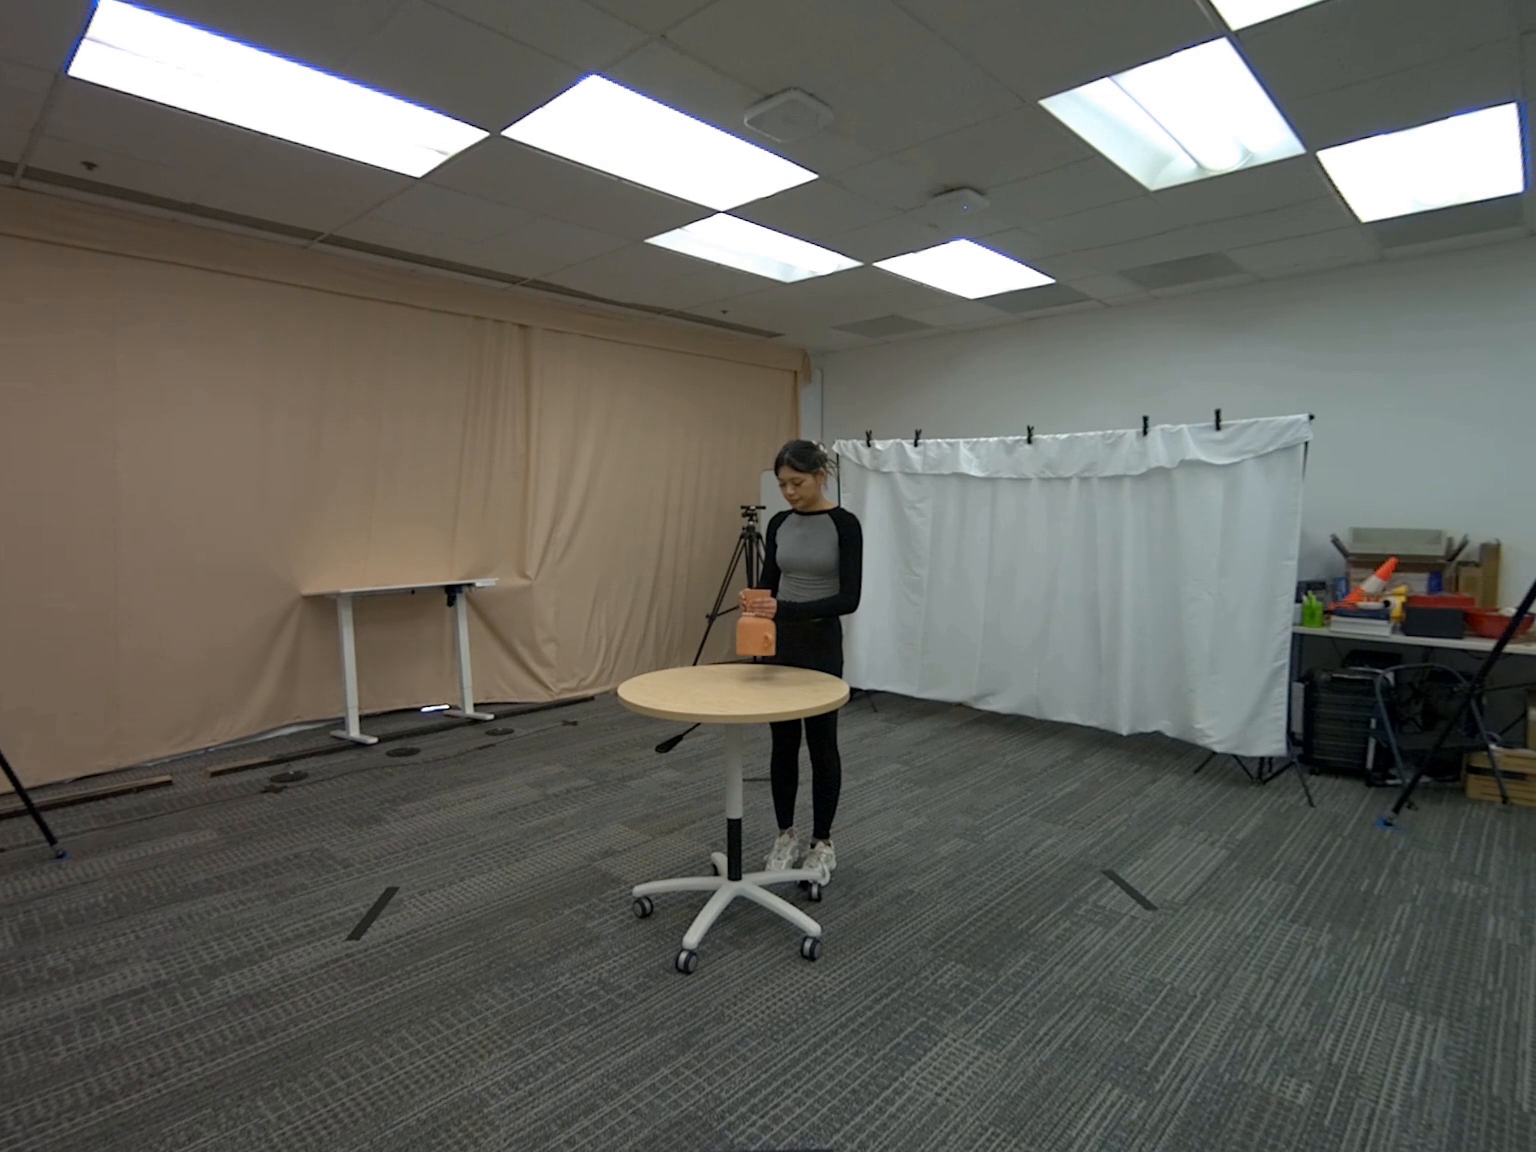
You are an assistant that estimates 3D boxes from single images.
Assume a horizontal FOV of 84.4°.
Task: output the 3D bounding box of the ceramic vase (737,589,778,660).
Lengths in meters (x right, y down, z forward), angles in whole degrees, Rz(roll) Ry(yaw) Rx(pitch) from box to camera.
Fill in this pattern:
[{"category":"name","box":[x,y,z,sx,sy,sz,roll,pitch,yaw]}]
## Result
[{"category":"ceramic vase","box":[-0.043,0.159,2.886,0.162,0.220,0.131,2,-3,19]}]
